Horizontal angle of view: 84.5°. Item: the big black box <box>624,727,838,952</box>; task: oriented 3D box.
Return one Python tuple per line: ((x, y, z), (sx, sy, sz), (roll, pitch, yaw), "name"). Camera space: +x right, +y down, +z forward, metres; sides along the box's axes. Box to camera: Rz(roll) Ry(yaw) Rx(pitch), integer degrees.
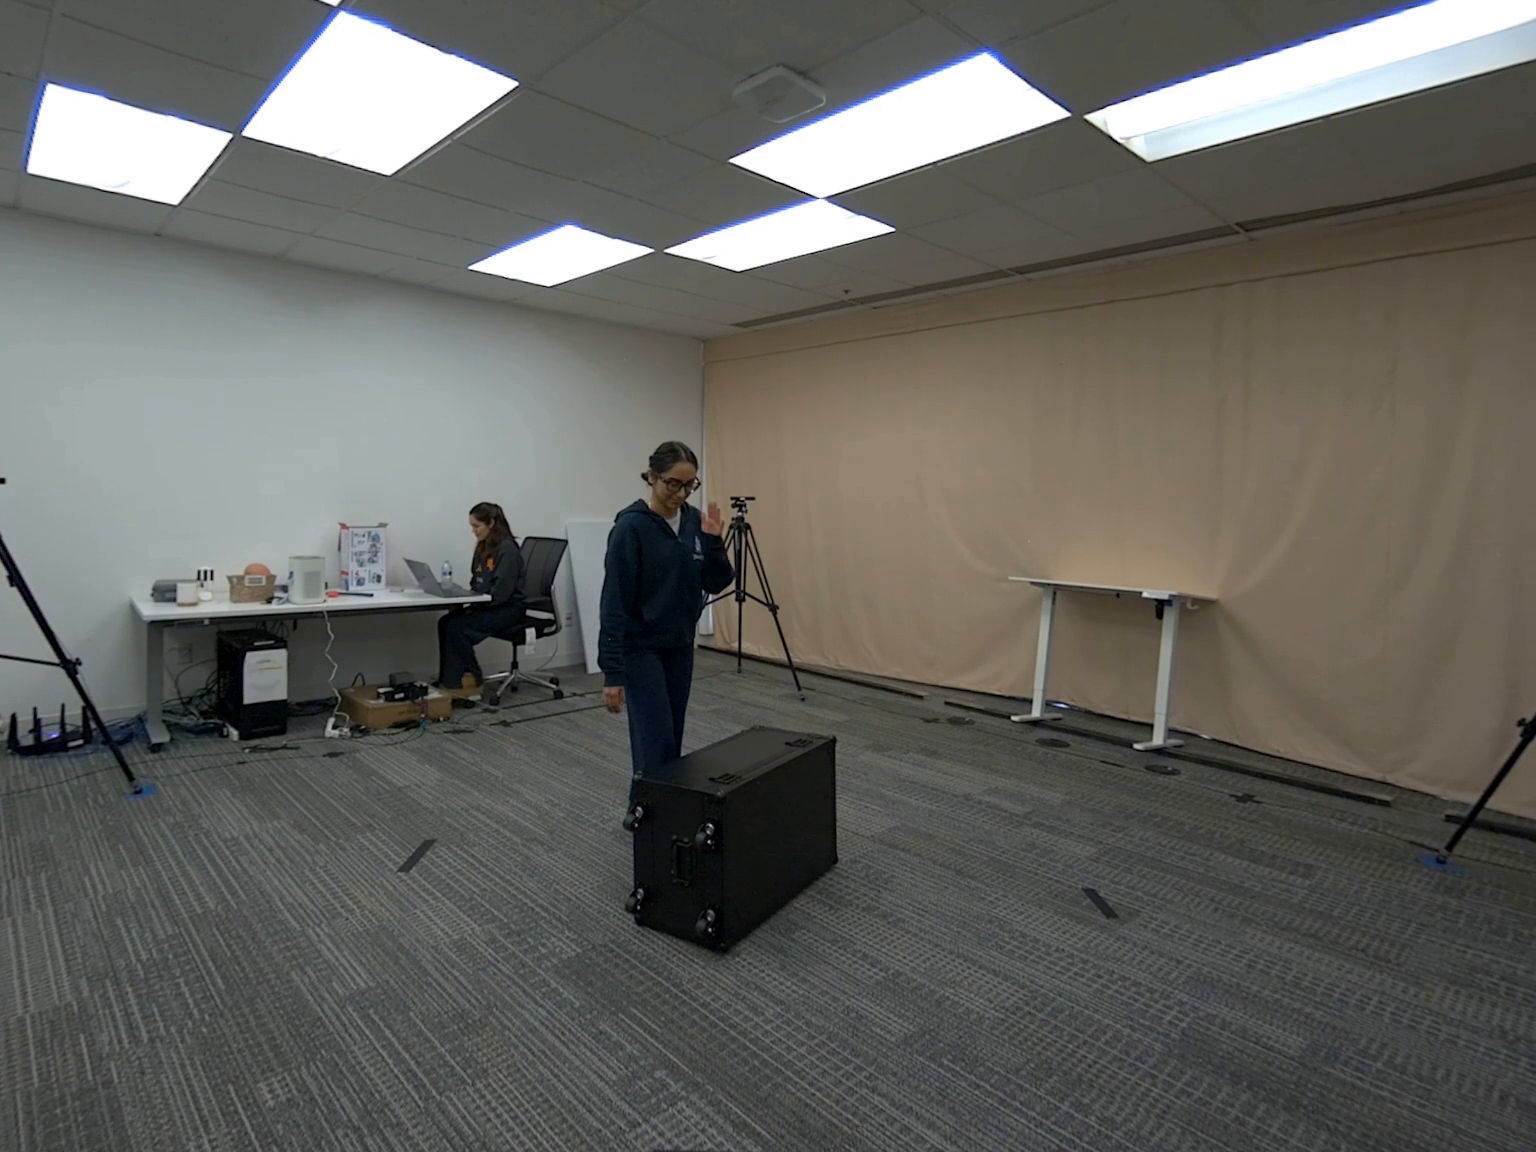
((-0.119, 0.867, 2.938), (0.404, 0.520, 0.845), (1, 4, 30), "big black box")
